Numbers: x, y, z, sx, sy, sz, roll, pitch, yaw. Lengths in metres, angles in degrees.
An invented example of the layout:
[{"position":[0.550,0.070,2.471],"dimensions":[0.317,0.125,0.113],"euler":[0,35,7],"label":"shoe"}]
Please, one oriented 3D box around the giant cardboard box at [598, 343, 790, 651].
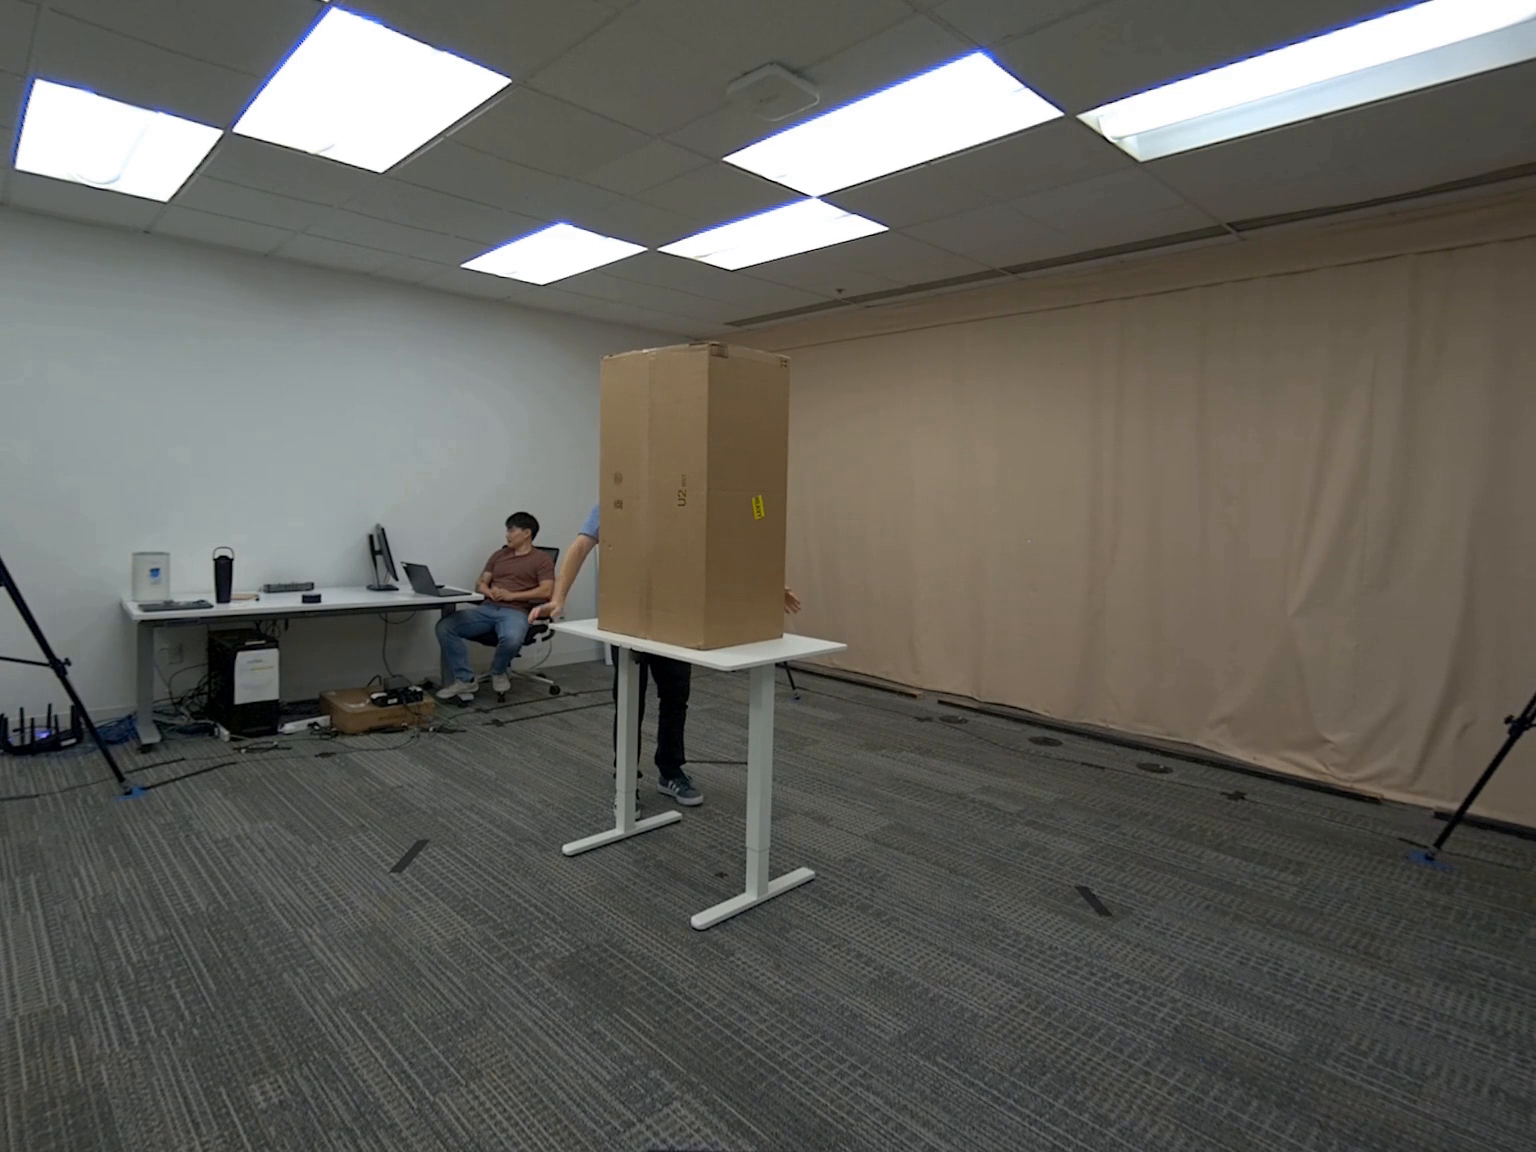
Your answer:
[{"position":[-0.286,-0.290,3.108],"dimensions":[0.592,1.023,0.416],"euler":[4,5,43],"label":"giant cardboard box"}]
